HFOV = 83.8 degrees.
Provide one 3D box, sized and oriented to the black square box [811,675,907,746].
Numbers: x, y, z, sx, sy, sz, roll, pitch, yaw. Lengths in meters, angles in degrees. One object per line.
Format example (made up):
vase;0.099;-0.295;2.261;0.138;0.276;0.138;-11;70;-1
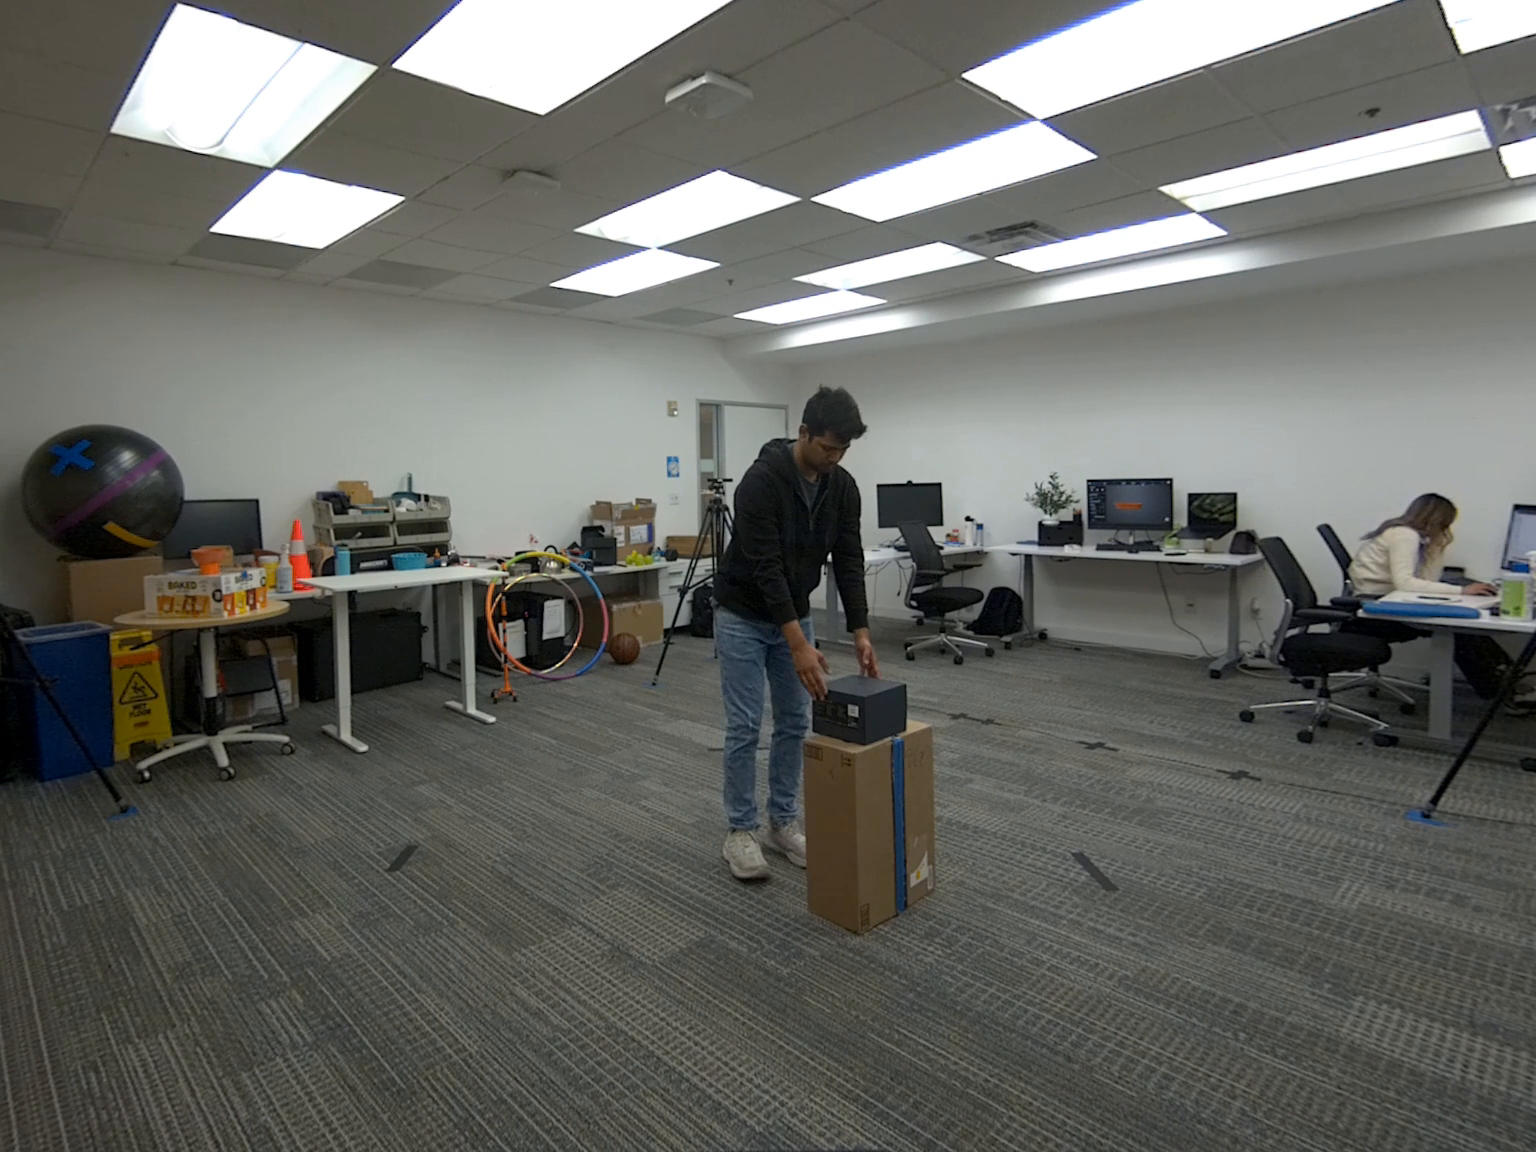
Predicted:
black square box;0.301;0.427;2.784;0.223;0.155;0.222;3;7;45
